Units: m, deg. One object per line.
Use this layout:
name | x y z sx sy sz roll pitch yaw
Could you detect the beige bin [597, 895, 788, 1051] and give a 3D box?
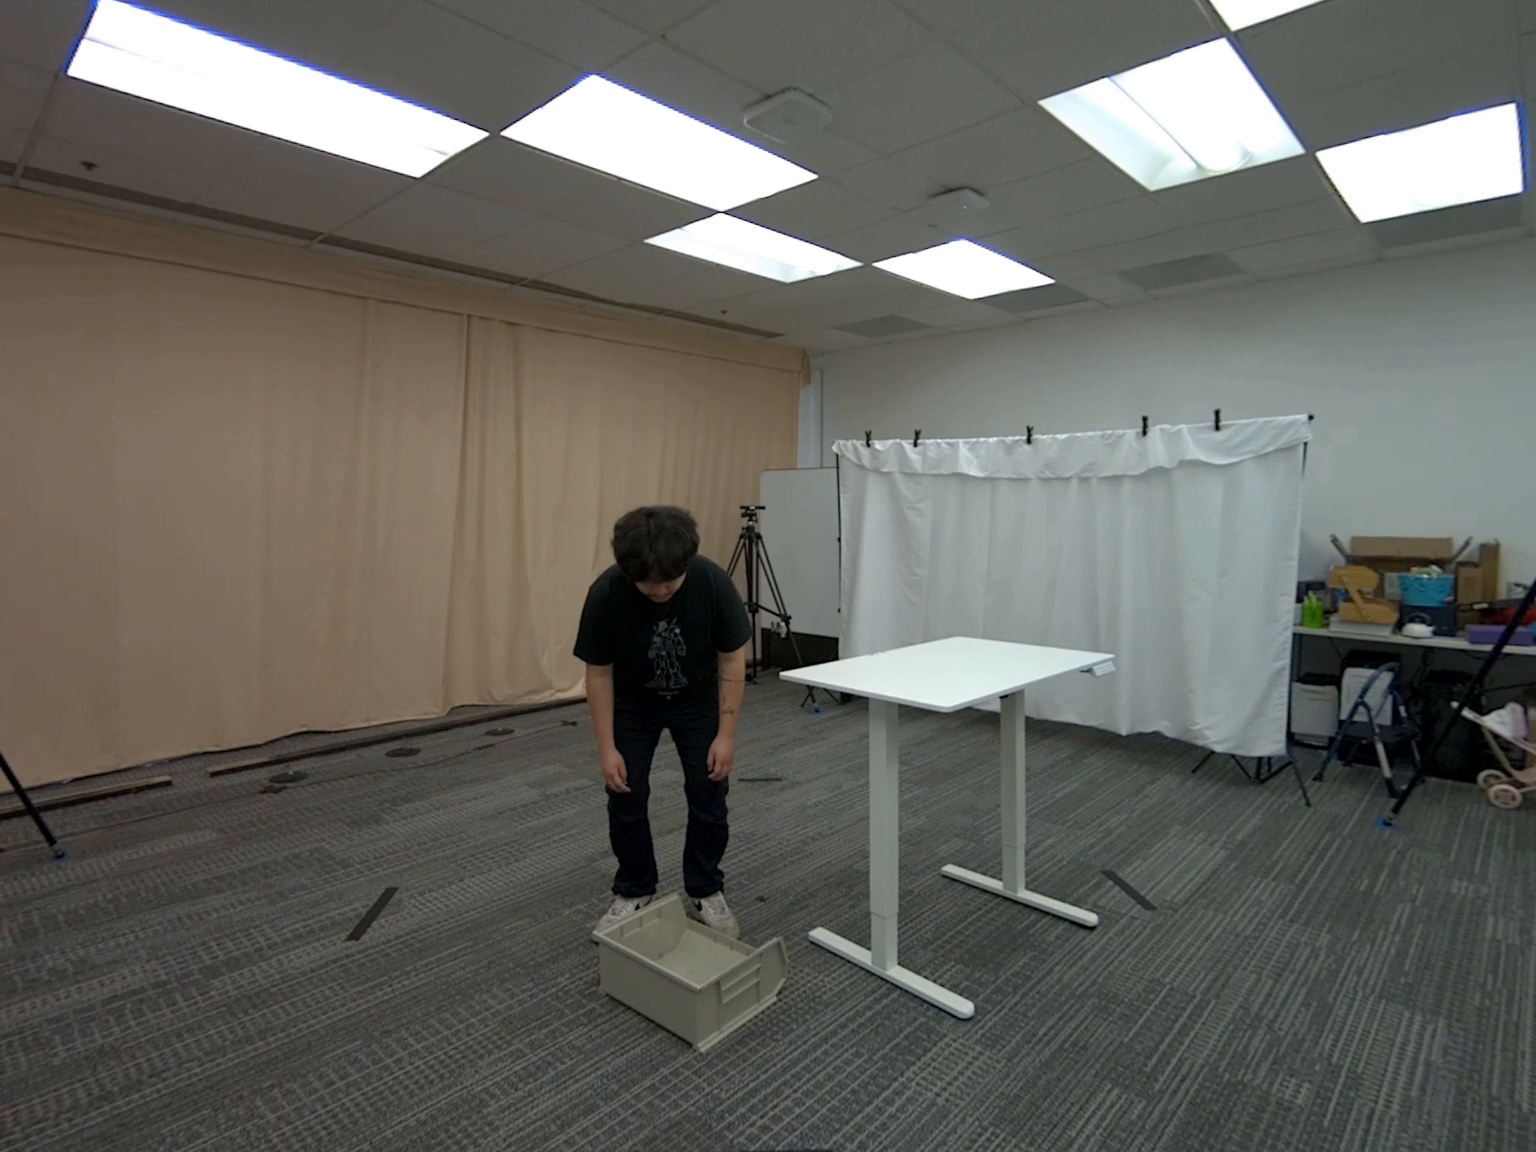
beige bin | -0.218 1.103 2.407 0.436 0.188 0.366 4 7 40
